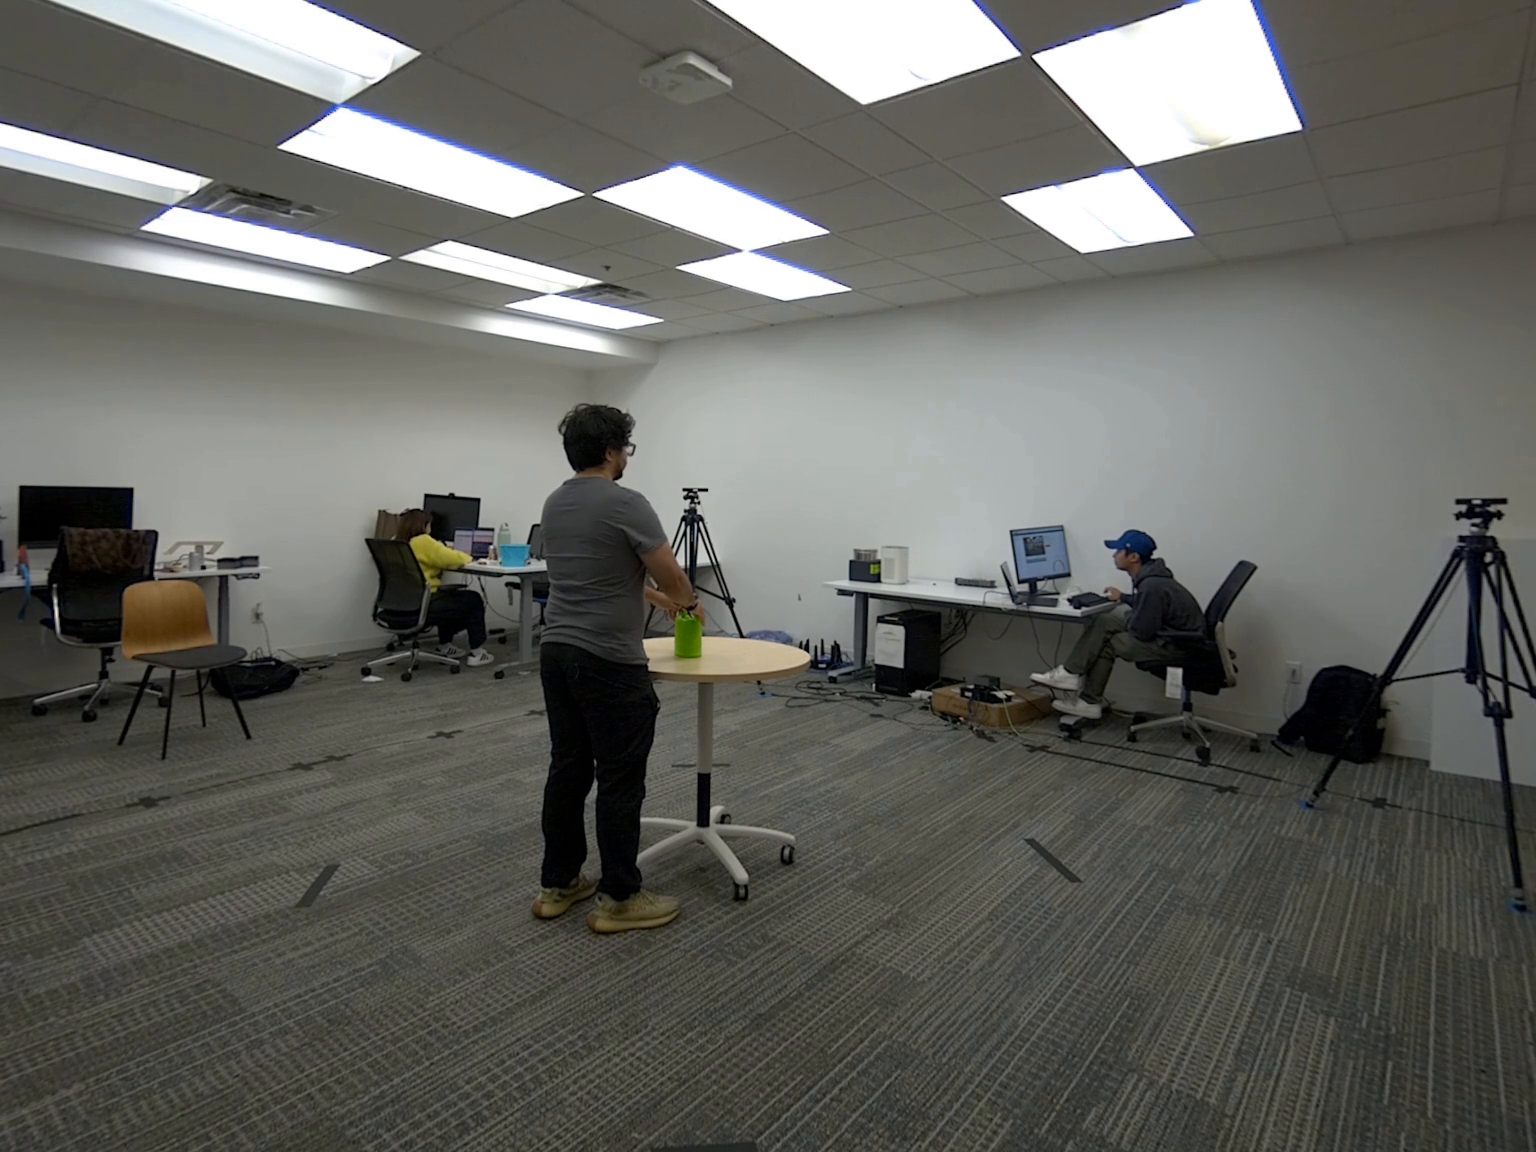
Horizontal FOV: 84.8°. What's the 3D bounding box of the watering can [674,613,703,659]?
[{"bbox_3d":[-0.308,0.194,3.141,0.097,0.176,0.283,0,6,-13],"label":"watering can"}]
